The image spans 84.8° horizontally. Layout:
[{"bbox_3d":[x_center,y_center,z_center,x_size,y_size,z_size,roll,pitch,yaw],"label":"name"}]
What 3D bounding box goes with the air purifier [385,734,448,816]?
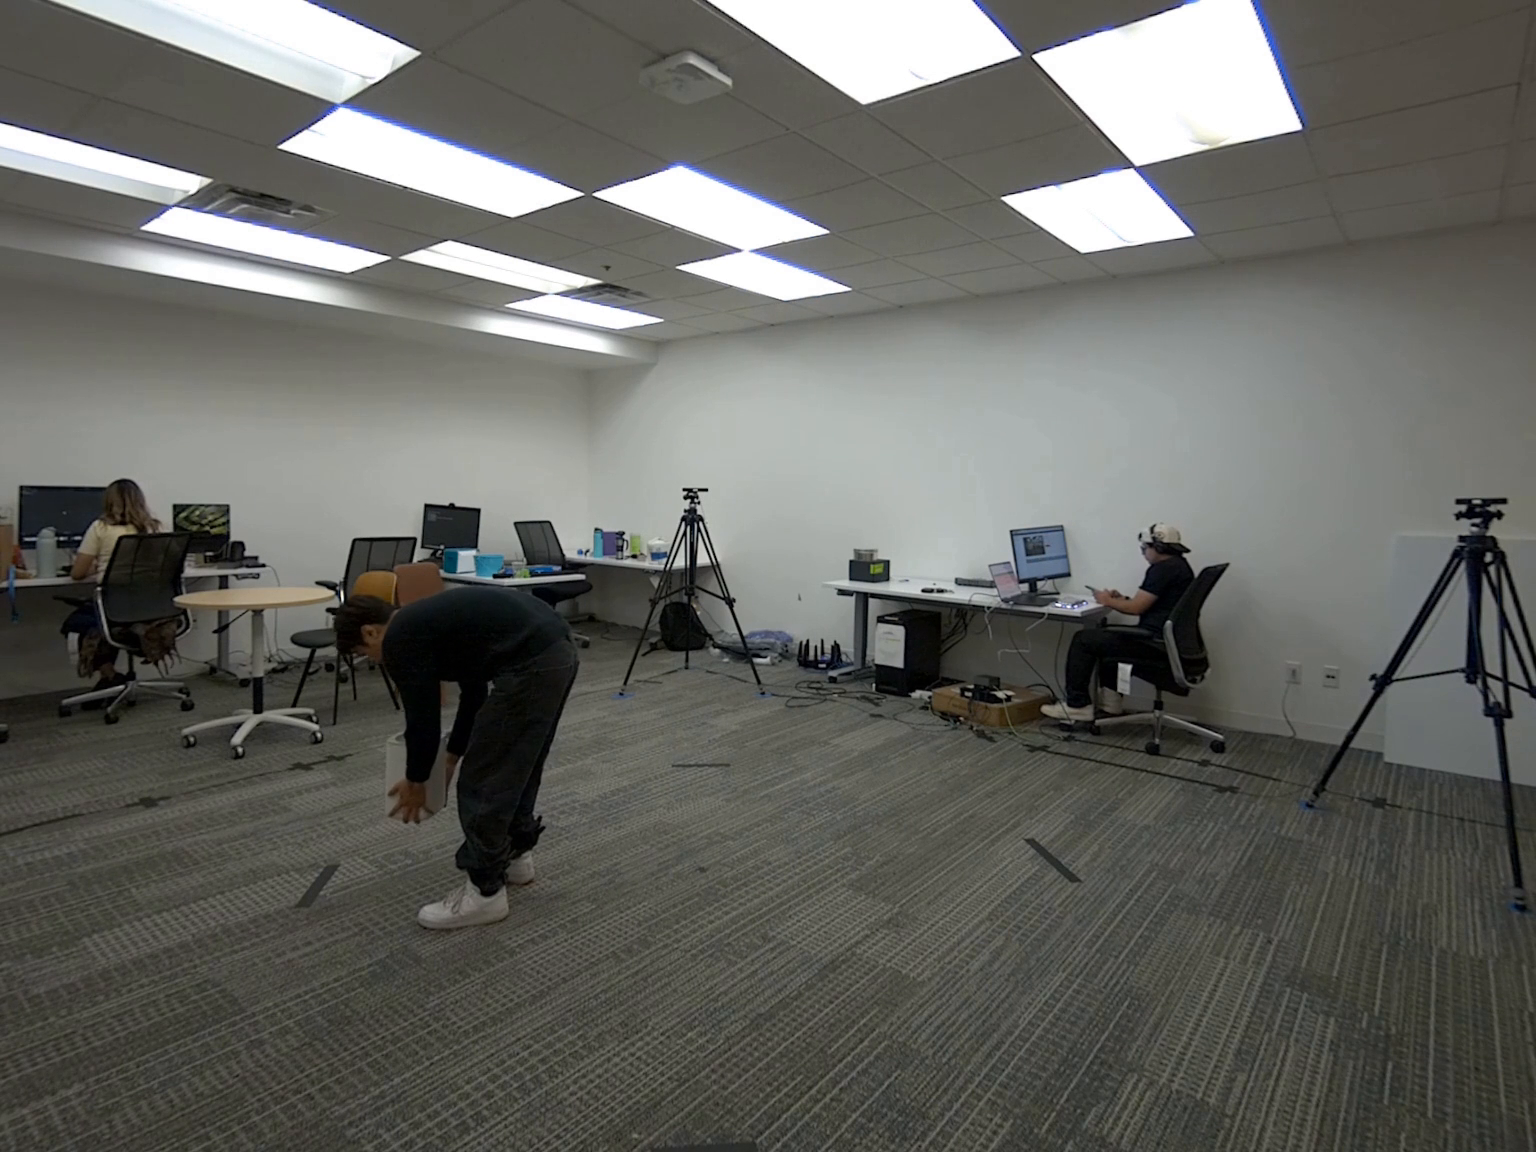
[{"bbox_3d":[-1.235,0.723,2.903,0.170,0.267,0.172,7,-6,-6],"label":"air purifier"}]
